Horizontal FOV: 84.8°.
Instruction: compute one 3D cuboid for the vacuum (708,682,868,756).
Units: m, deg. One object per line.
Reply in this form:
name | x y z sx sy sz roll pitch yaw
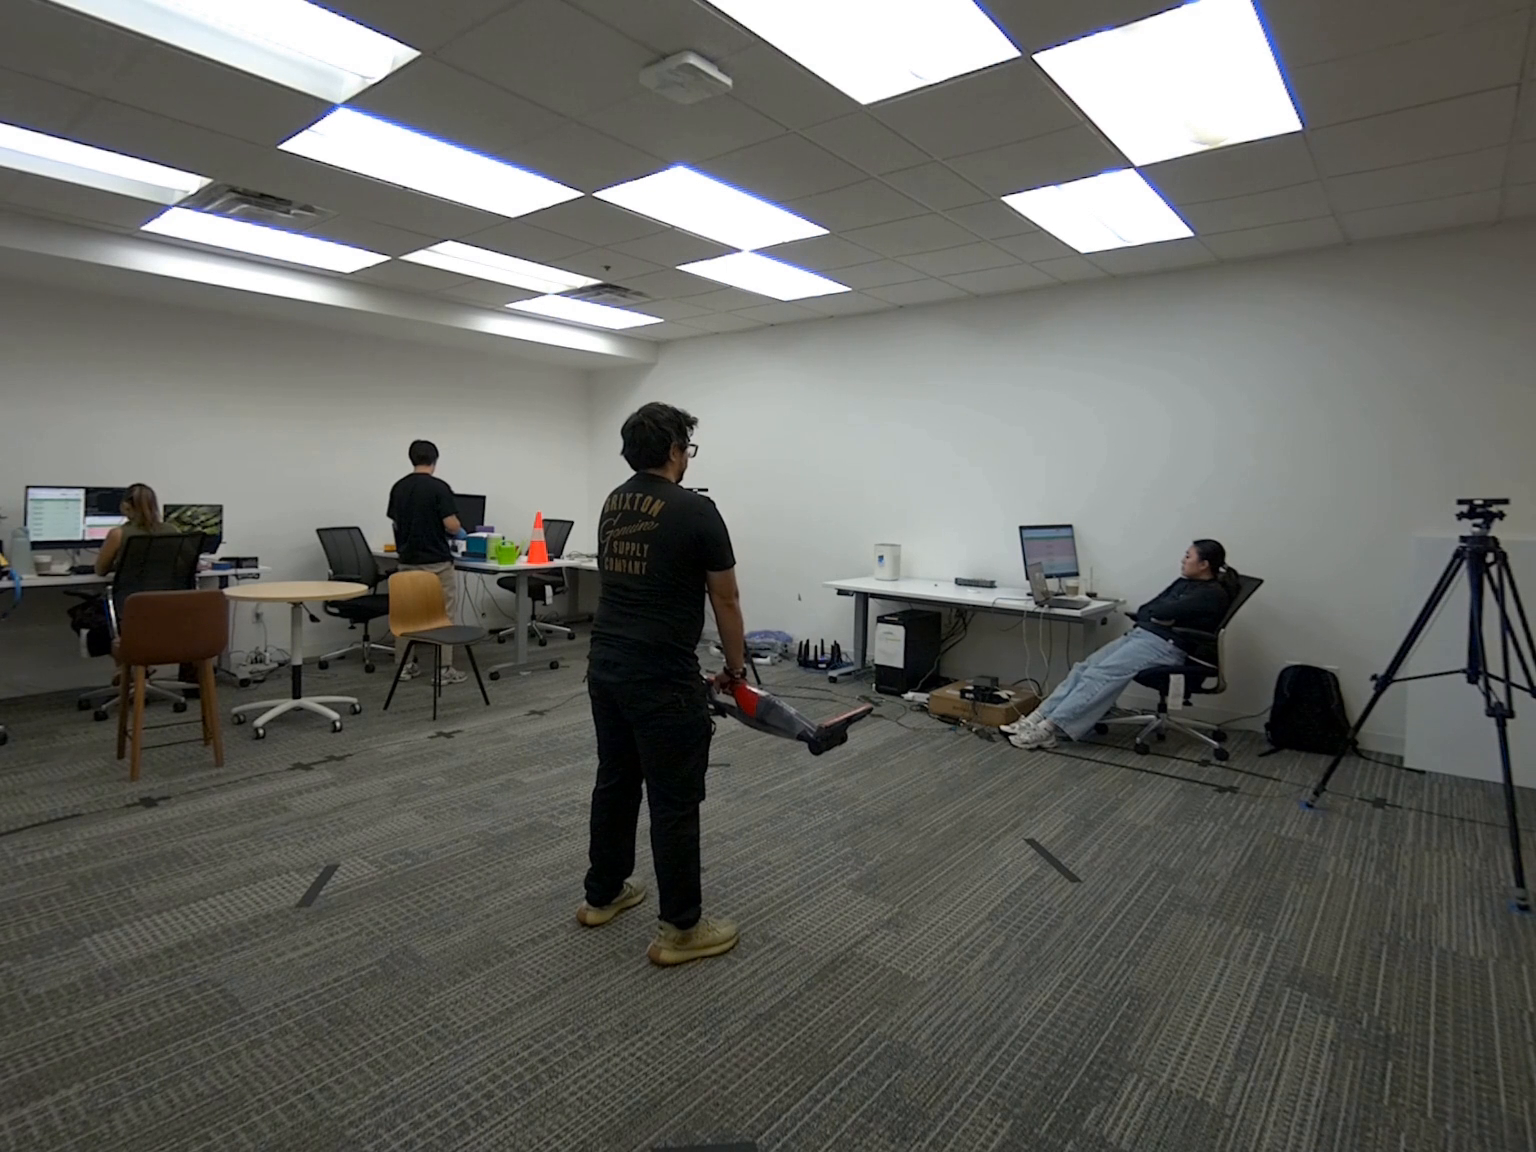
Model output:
vacuum | -0.208 0.383 2.812 1.087 0.142 0.246 9 17 42
